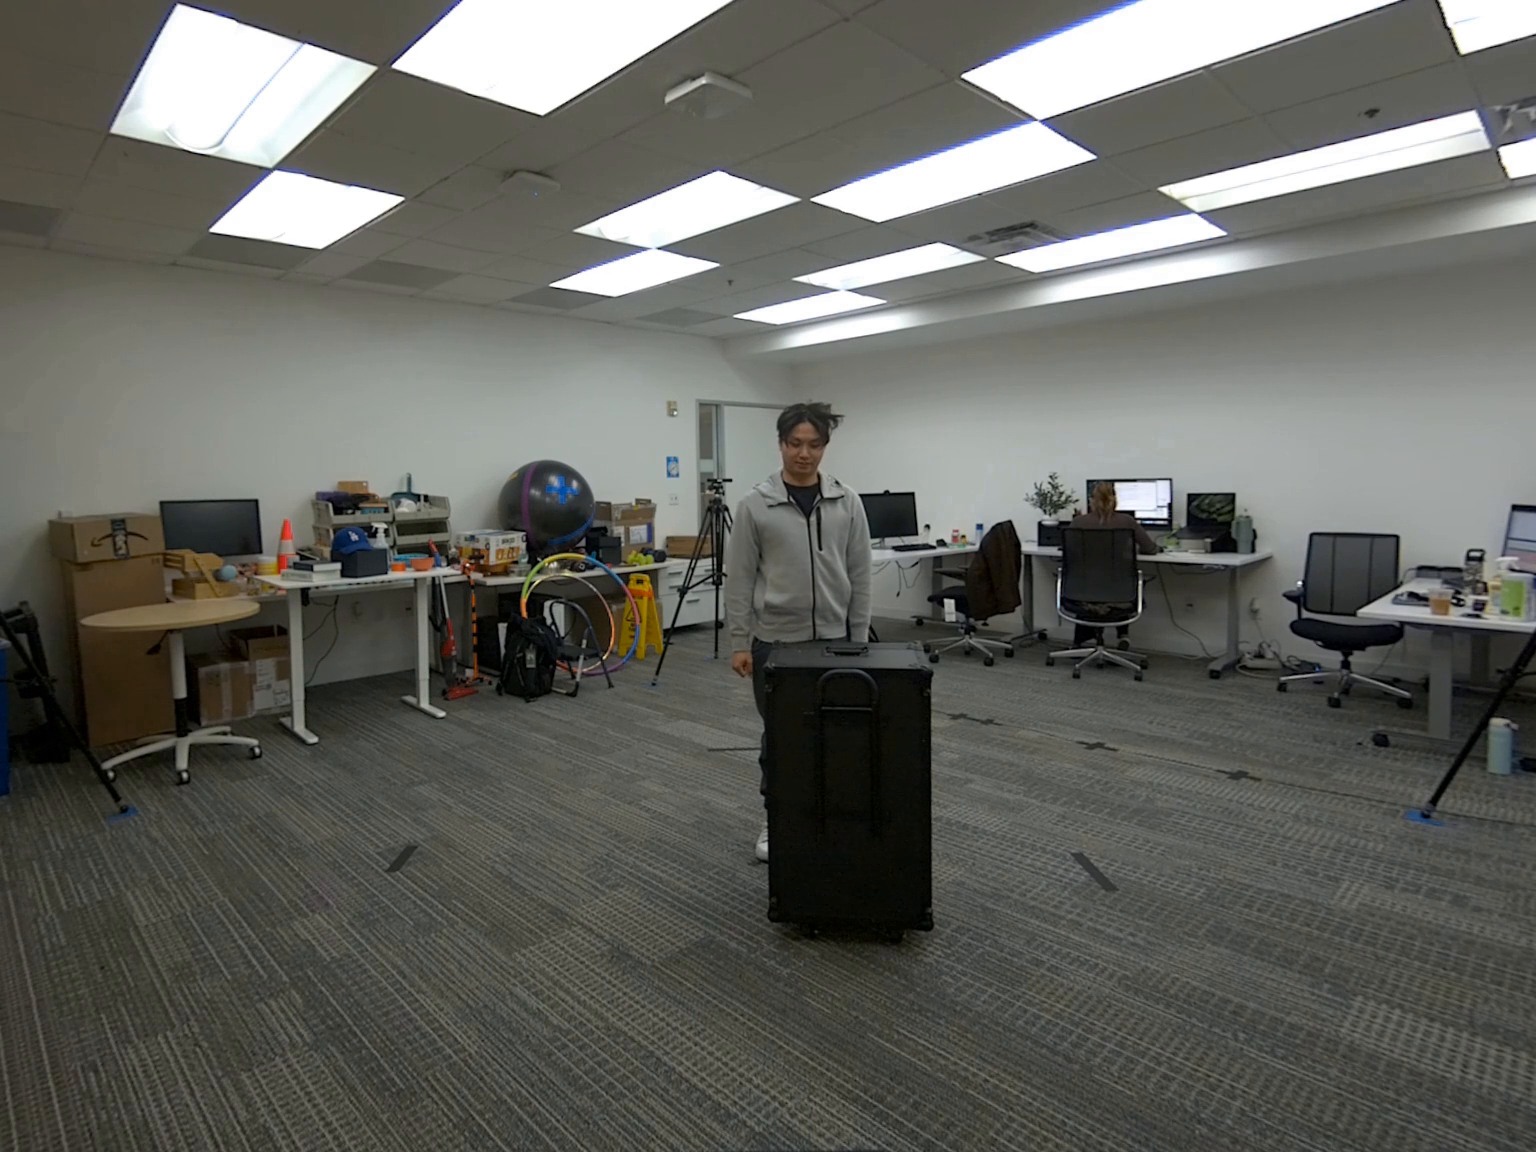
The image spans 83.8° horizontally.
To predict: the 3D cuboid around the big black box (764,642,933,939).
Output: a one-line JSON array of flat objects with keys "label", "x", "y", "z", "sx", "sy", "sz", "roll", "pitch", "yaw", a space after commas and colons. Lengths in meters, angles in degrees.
[{"label": "big black box", "x": 0.254, "y": 0.668, "z": 2.660, "sx": 0.525, "sy": 0.857, "sz": 0.395, "roll": -1, "pitch": 5, "yaw": 8}]
